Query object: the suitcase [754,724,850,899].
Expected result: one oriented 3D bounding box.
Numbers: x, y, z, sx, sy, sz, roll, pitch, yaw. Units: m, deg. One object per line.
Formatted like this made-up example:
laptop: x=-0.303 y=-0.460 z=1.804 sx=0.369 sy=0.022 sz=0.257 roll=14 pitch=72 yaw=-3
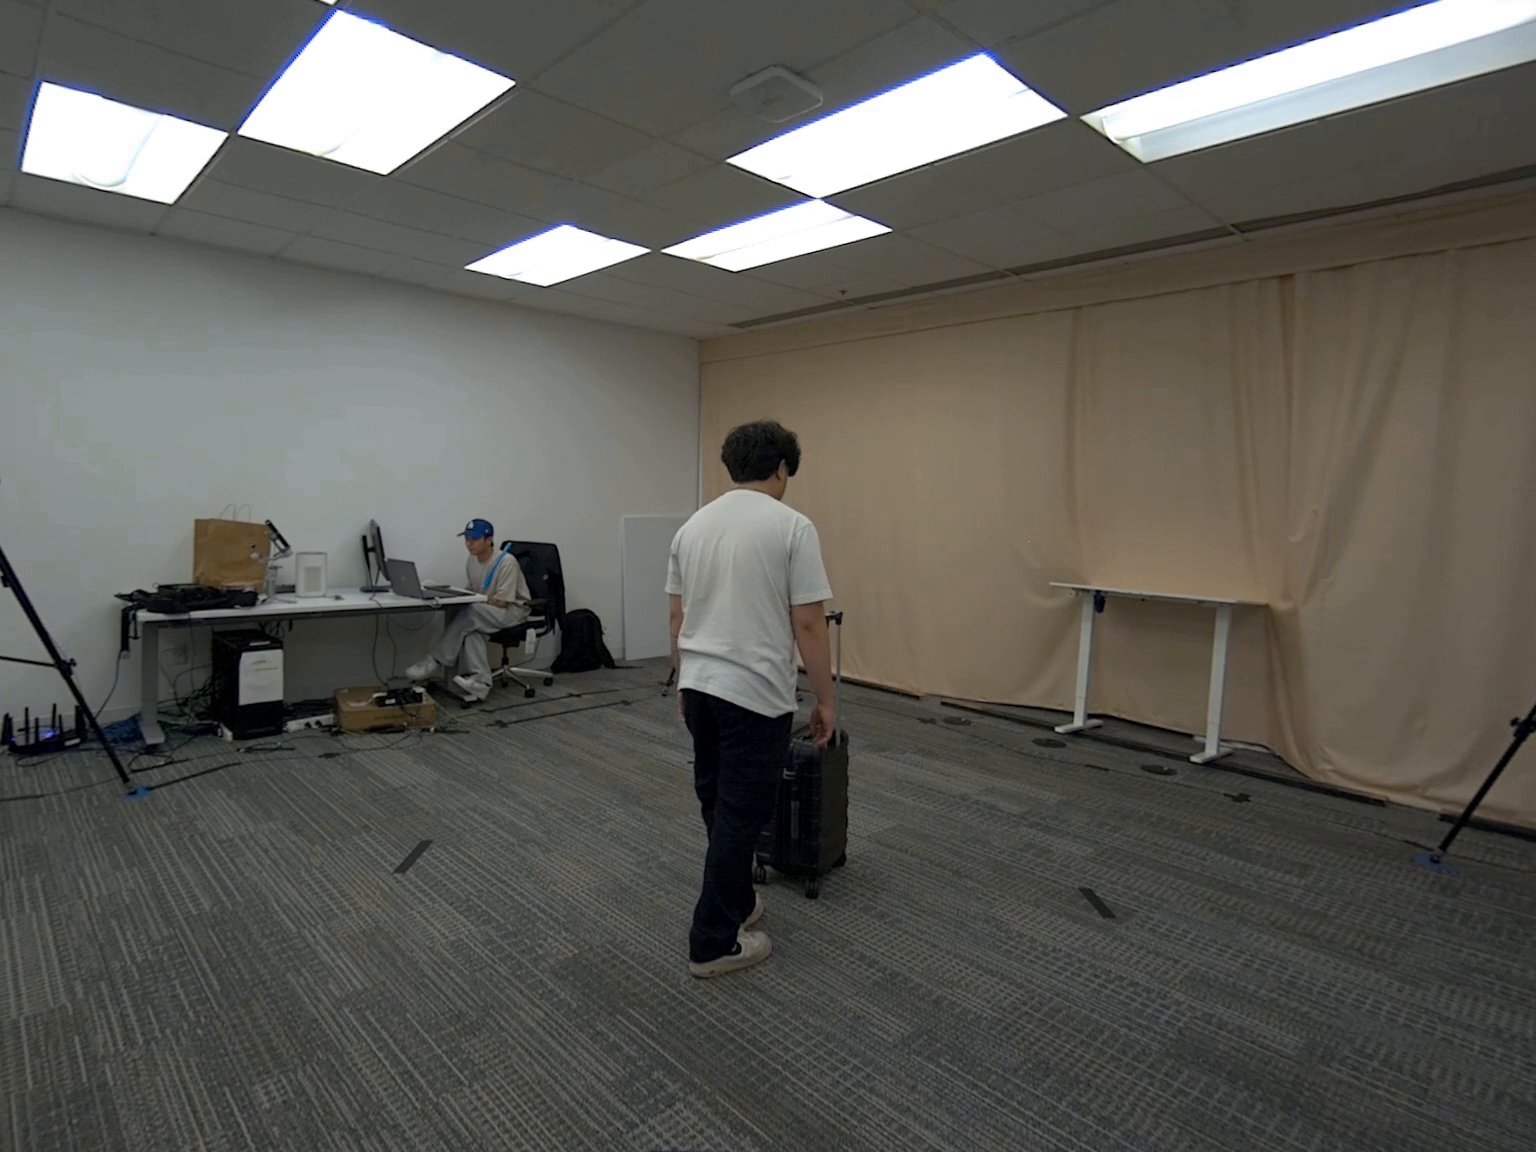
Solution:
suitcase: x=0.127 y=0.636 z=3.140 sx=0.262 sy=0.979 sz=0.376 roll=-1 pitch=0 yaw=28
